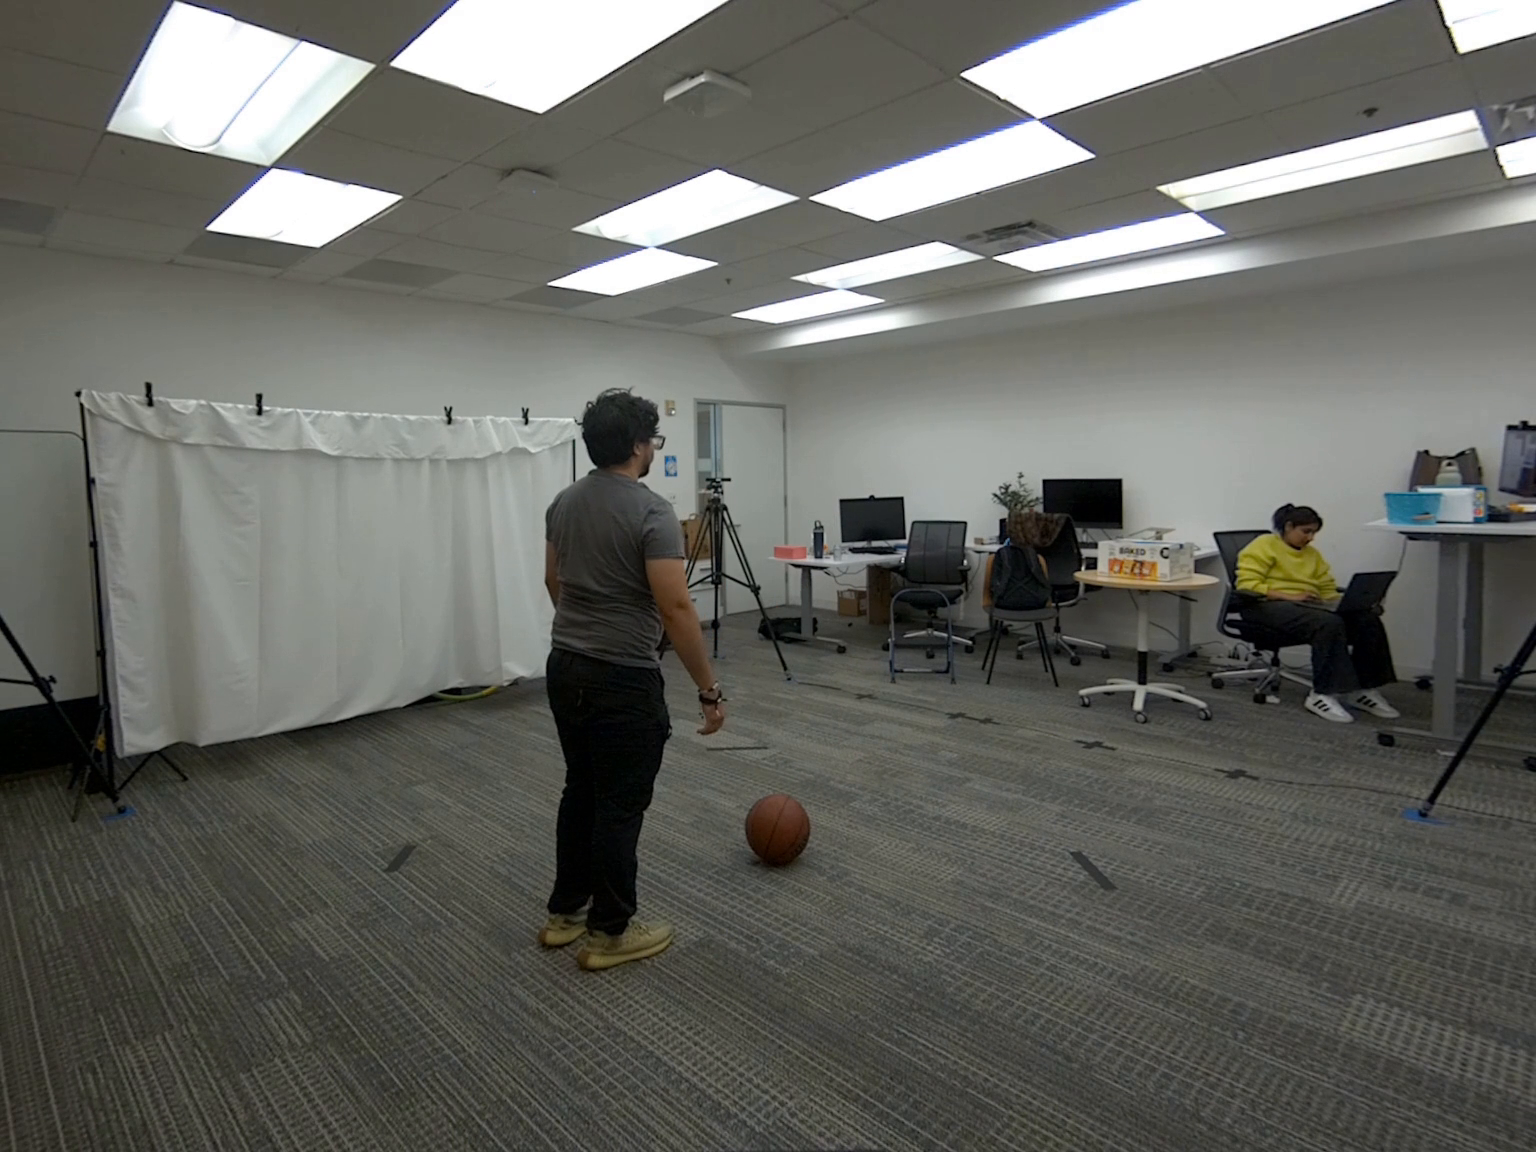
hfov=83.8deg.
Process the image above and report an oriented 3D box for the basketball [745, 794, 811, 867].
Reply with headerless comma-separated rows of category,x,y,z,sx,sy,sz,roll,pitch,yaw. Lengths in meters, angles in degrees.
basketball,0.039,0.920,3.112,0.236,0.235,0.237,-1,5,-2
